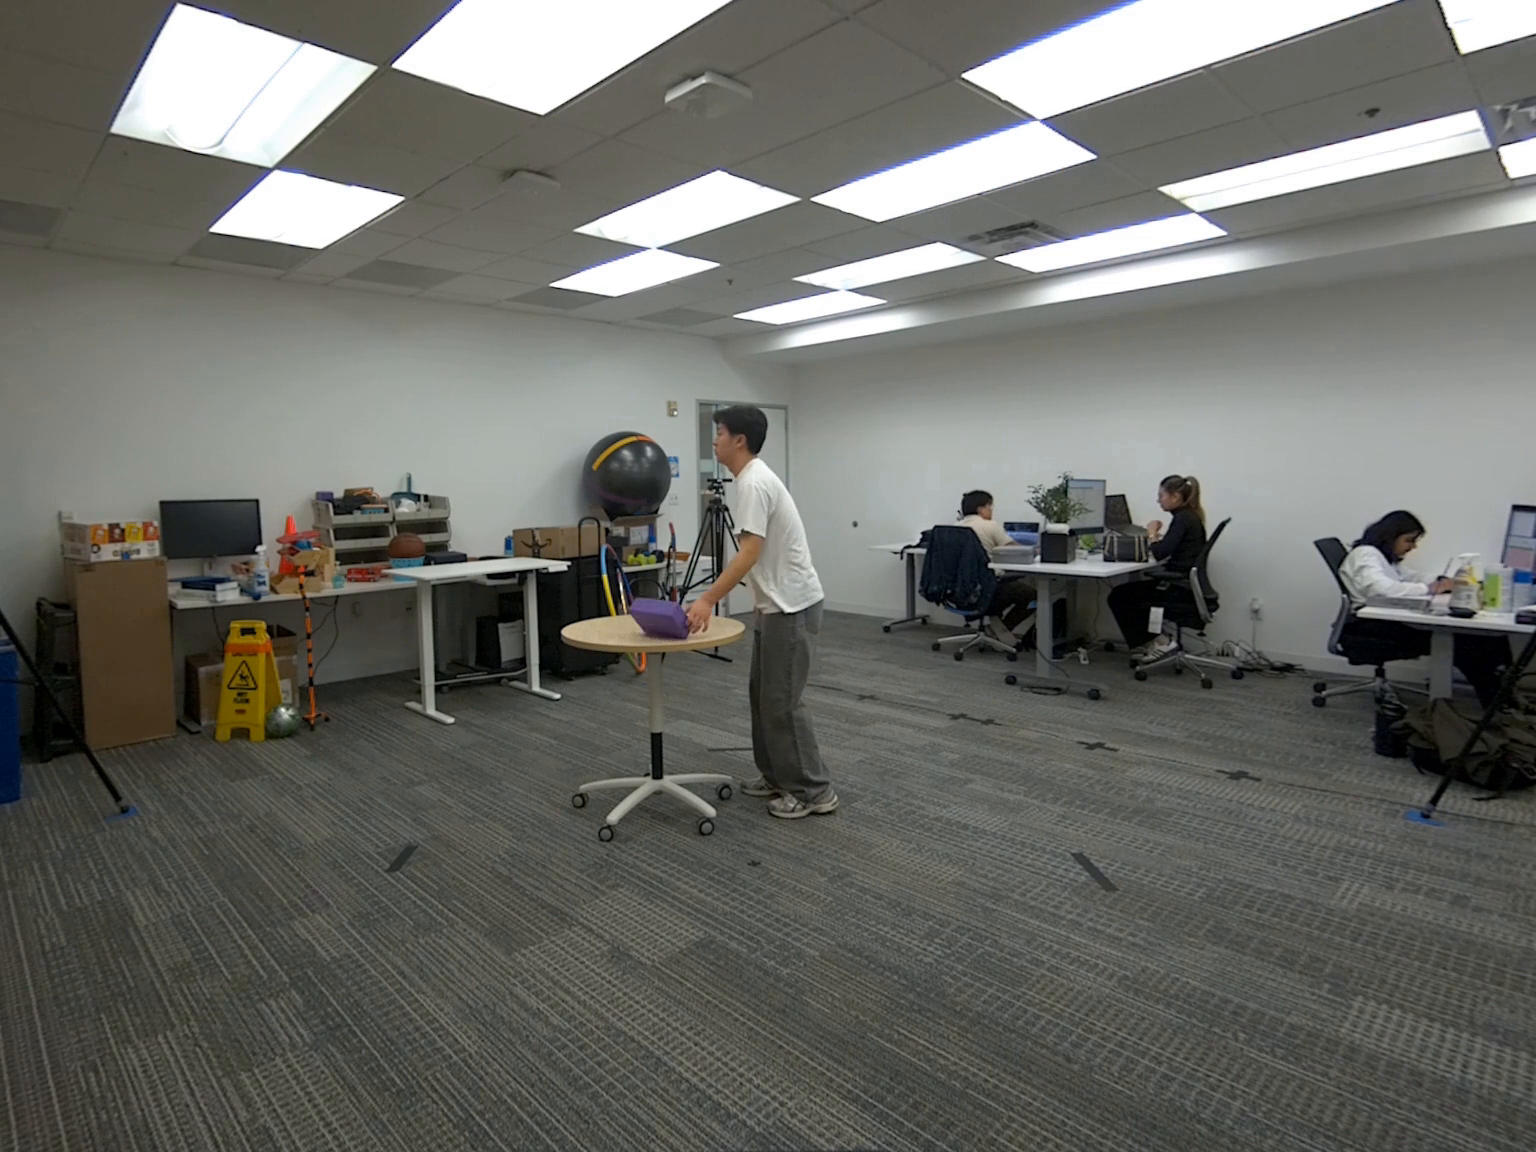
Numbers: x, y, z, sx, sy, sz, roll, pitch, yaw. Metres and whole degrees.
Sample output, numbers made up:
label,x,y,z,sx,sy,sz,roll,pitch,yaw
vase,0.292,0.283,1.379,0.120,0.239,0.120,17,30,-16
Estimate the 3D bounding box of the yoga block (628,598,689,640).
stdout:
label,x,y,z,sx,sy,sz,roll,pitch,yaw
yoga block,-0.437,0.176,3.370,0.236,0.143,0.077,5,50,37
